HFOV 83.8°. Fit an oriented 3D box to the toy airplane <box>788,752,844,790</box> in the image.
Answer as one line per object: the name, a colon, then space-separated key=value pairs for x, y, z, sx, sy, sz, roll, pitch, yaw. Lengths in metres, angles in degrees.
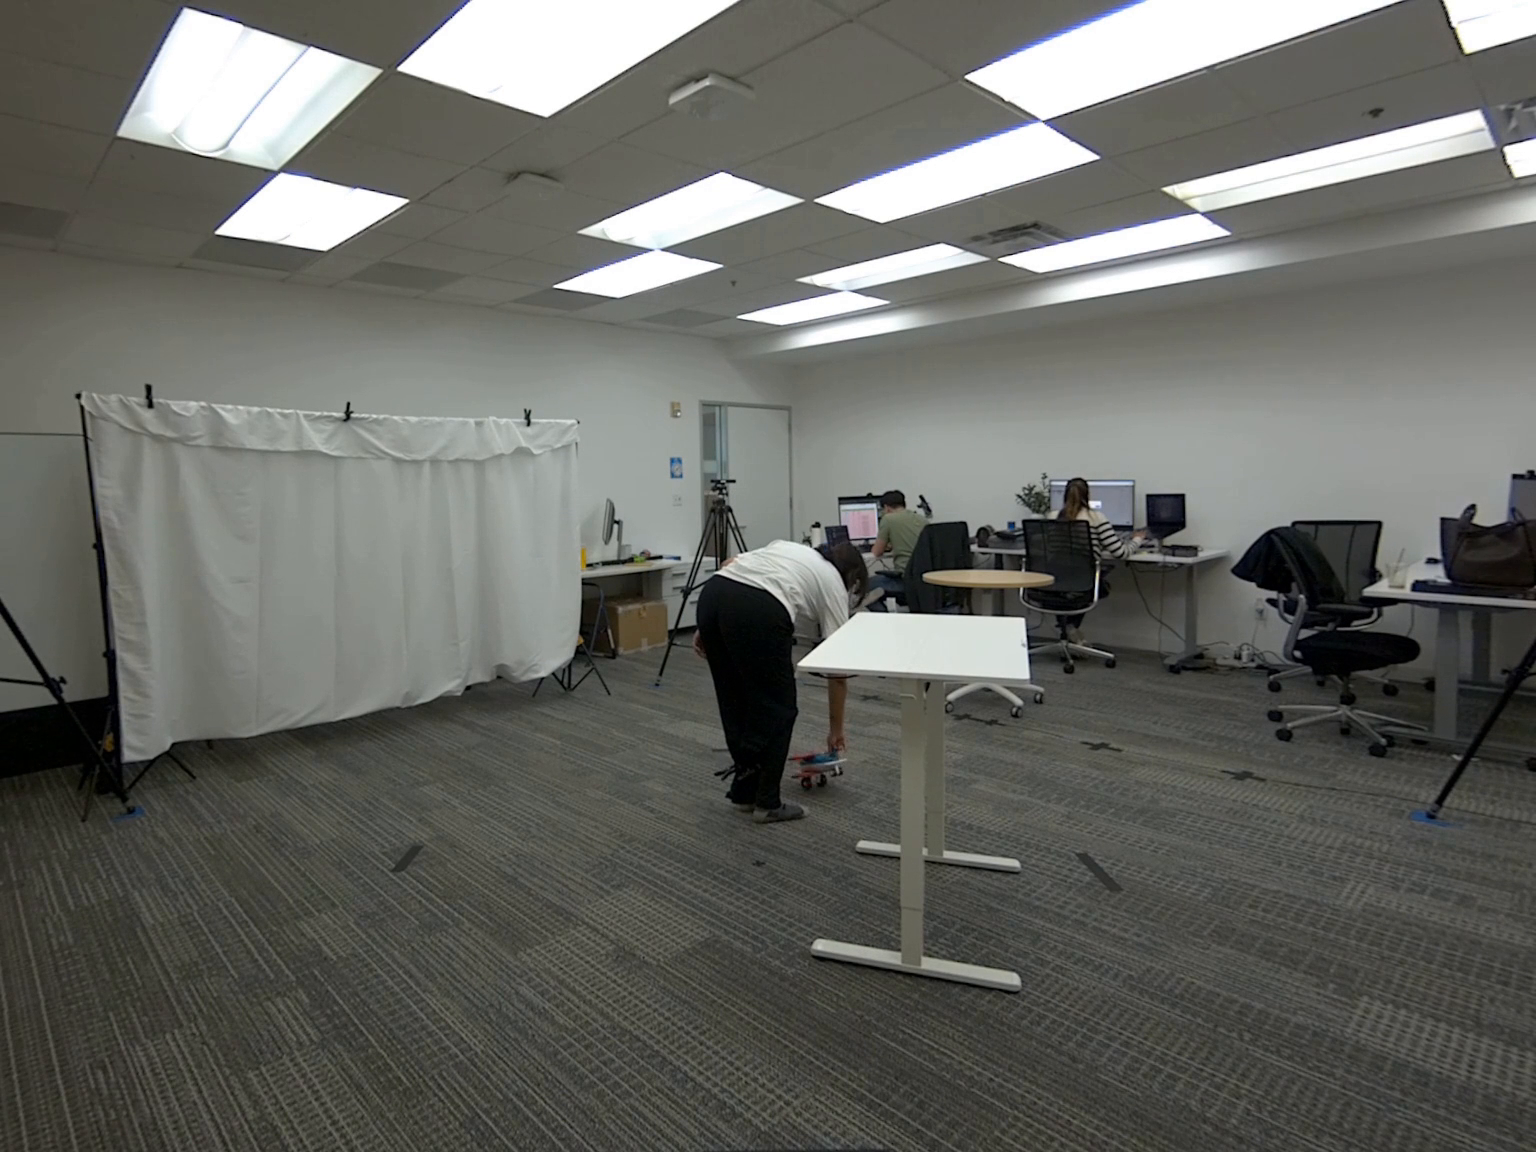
toy airplane: x=0.255 y=0.847 z=3.836 sx=0.261 sy=0.160 sz=0.243 roll=-28 pitch=-24 yaw=21
